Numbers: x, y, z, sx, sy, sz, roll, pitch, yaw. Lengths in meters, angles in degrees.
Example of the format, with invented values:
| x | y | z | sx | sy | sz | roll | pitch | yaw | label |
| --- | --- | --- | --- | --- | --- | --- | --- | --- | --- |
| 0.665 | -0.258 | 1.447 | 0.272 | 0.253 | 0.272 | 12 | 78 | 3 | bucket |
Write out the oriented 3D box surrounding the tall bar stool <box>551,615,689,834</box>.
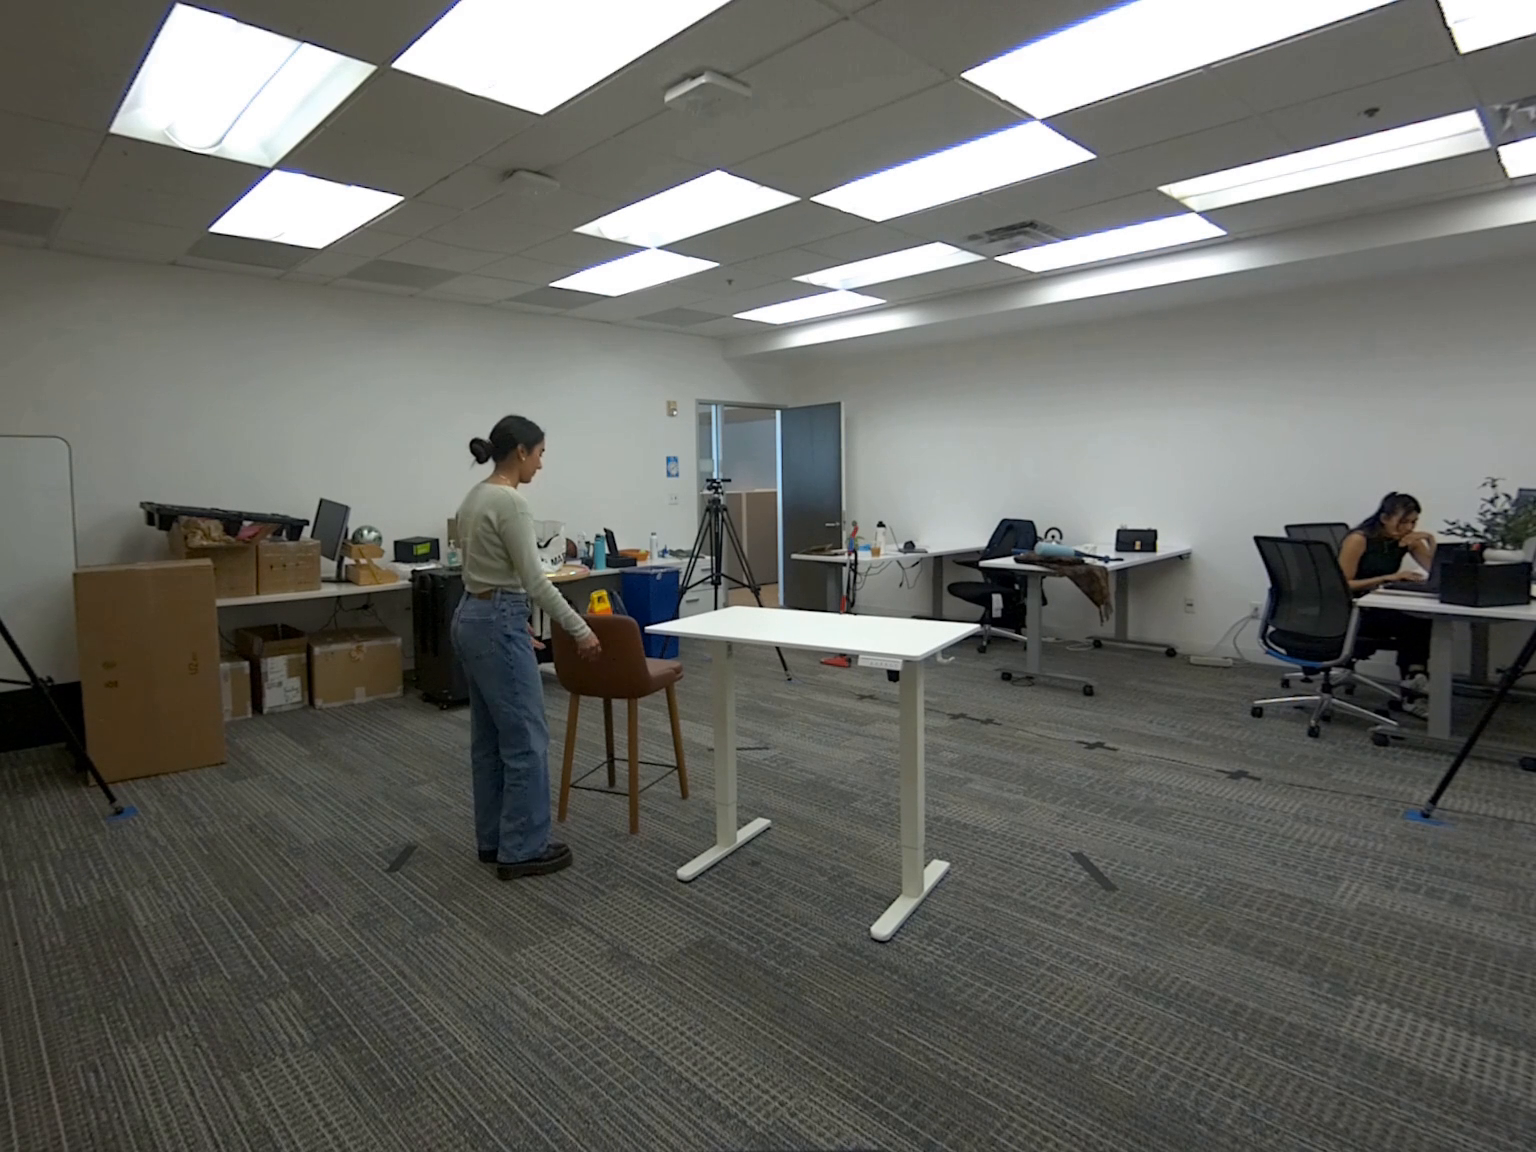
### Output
| x | y | z | sx | sy | sz | roll | pitch | yaw | label |
| --- | --- | --- | --- | --- | --- | --- | --- | --- | --- |
| -0.629 | 0.560 | 3.621 | 0.467 | 0.885 | 0.460 | 1 | 6 | 24 | tall bar stool |
